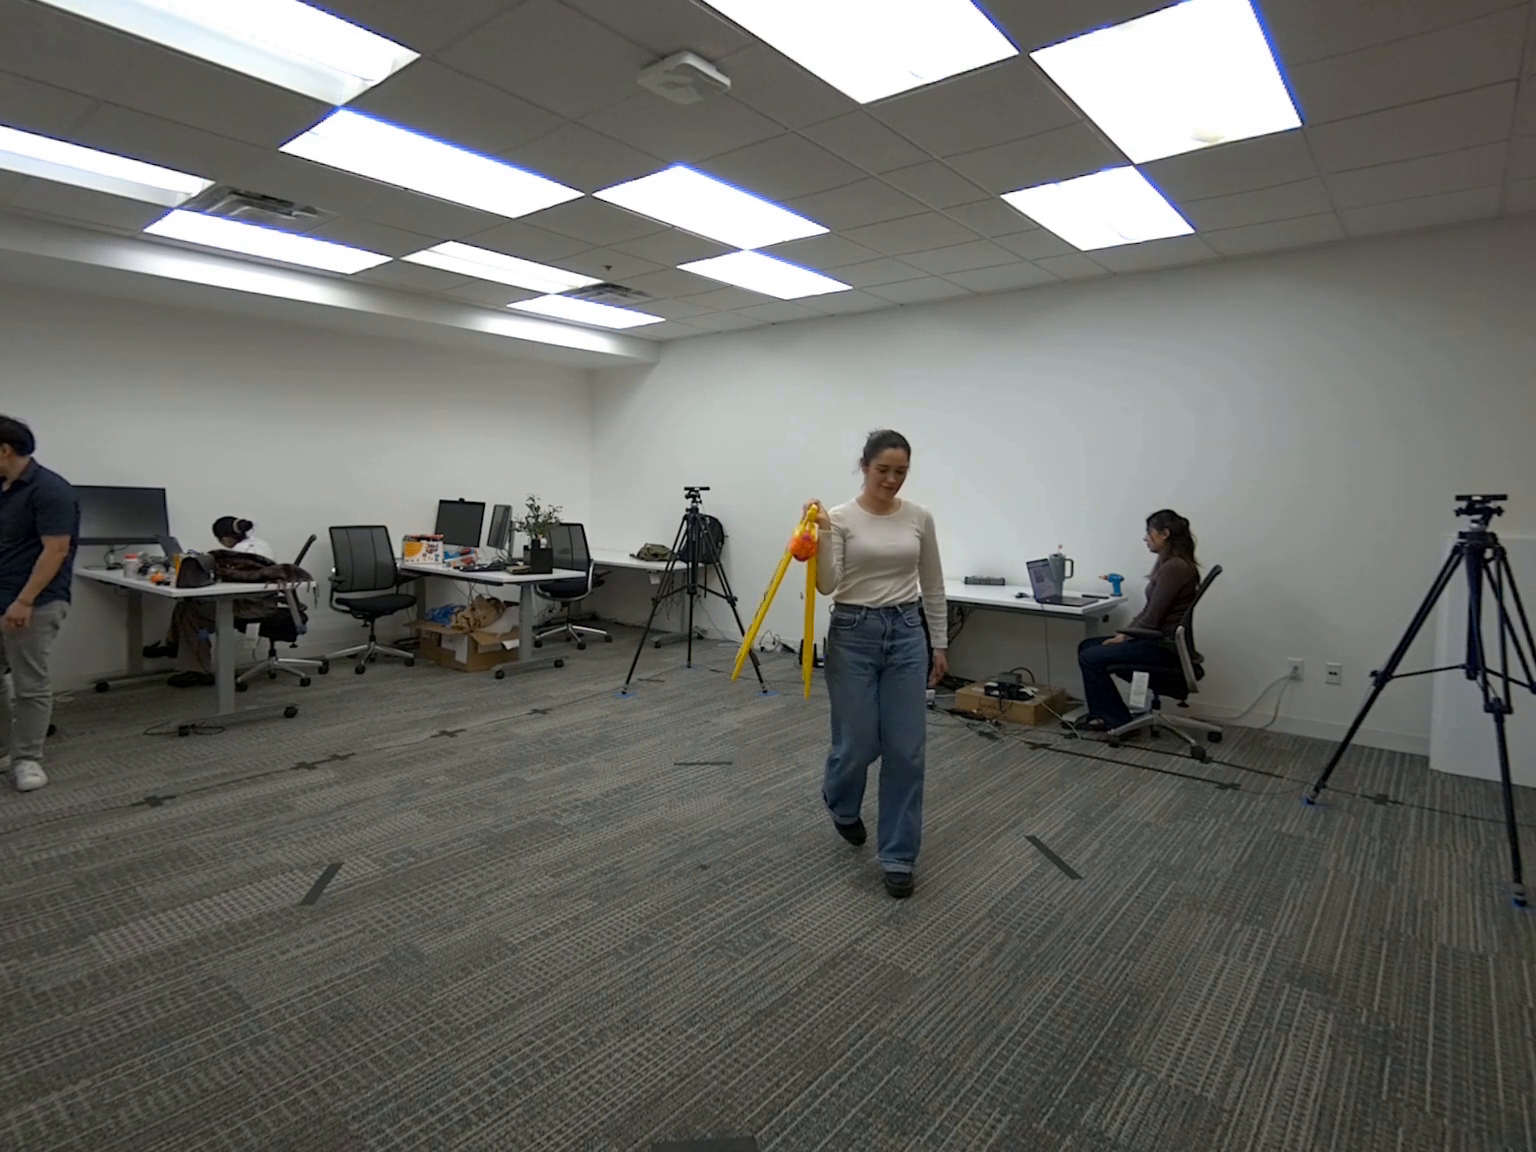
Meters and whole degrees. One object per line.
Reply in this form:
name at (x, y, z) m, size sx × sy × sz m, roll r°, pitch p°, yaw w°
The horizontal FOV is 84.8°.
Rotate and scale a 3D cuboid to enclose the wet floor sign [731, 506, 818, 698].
wet floor sign at (0.075, 0.057, 3.010) m, size 0.289 × 0.643 × 0.284 m, roll 14°, pitch 7°, yaw -2°
